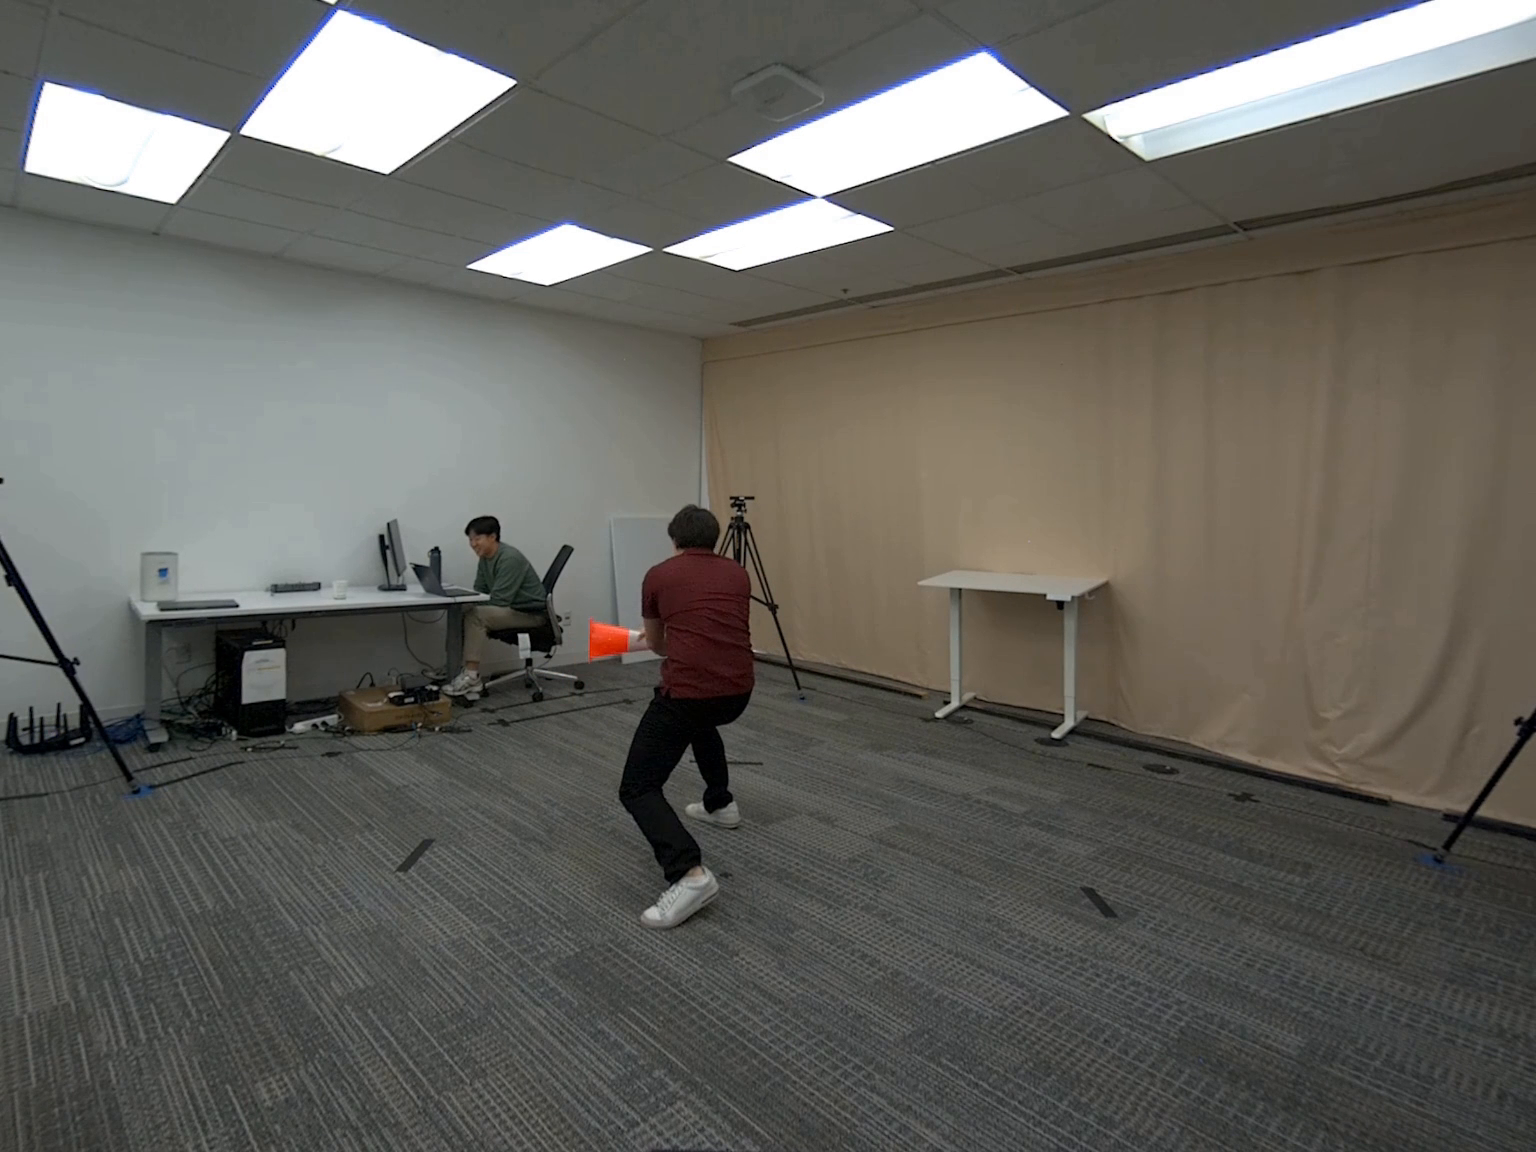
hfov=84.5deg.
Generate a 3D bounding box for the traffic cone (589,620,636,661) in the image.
[{"bbox_3d":[-0.602,0.296,3.743,0.382,0.204,0.205,5,-7,-5],"label":"traffic cone"}]
